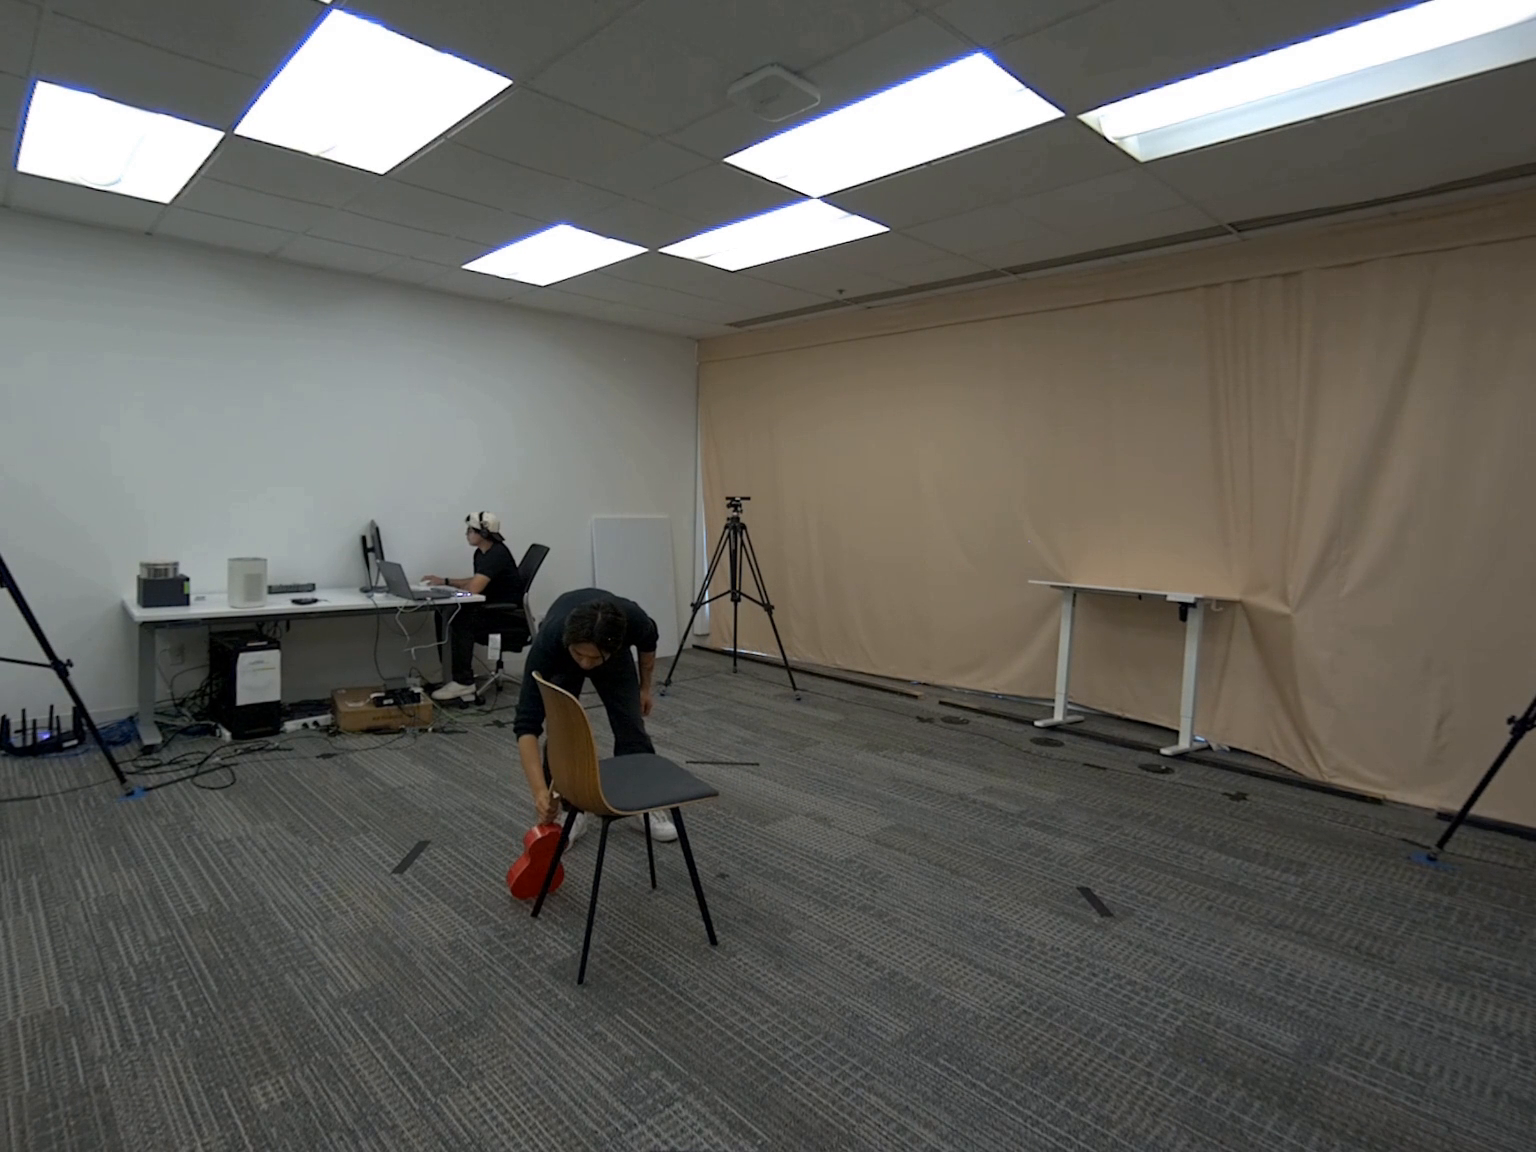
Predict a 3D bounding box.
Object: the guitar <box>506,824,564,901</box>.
[{"bbox_3d":[-0.782,0.873,2.844,0.189,0.492,0.073,-3,24,-34],"label":"guitar"}]
